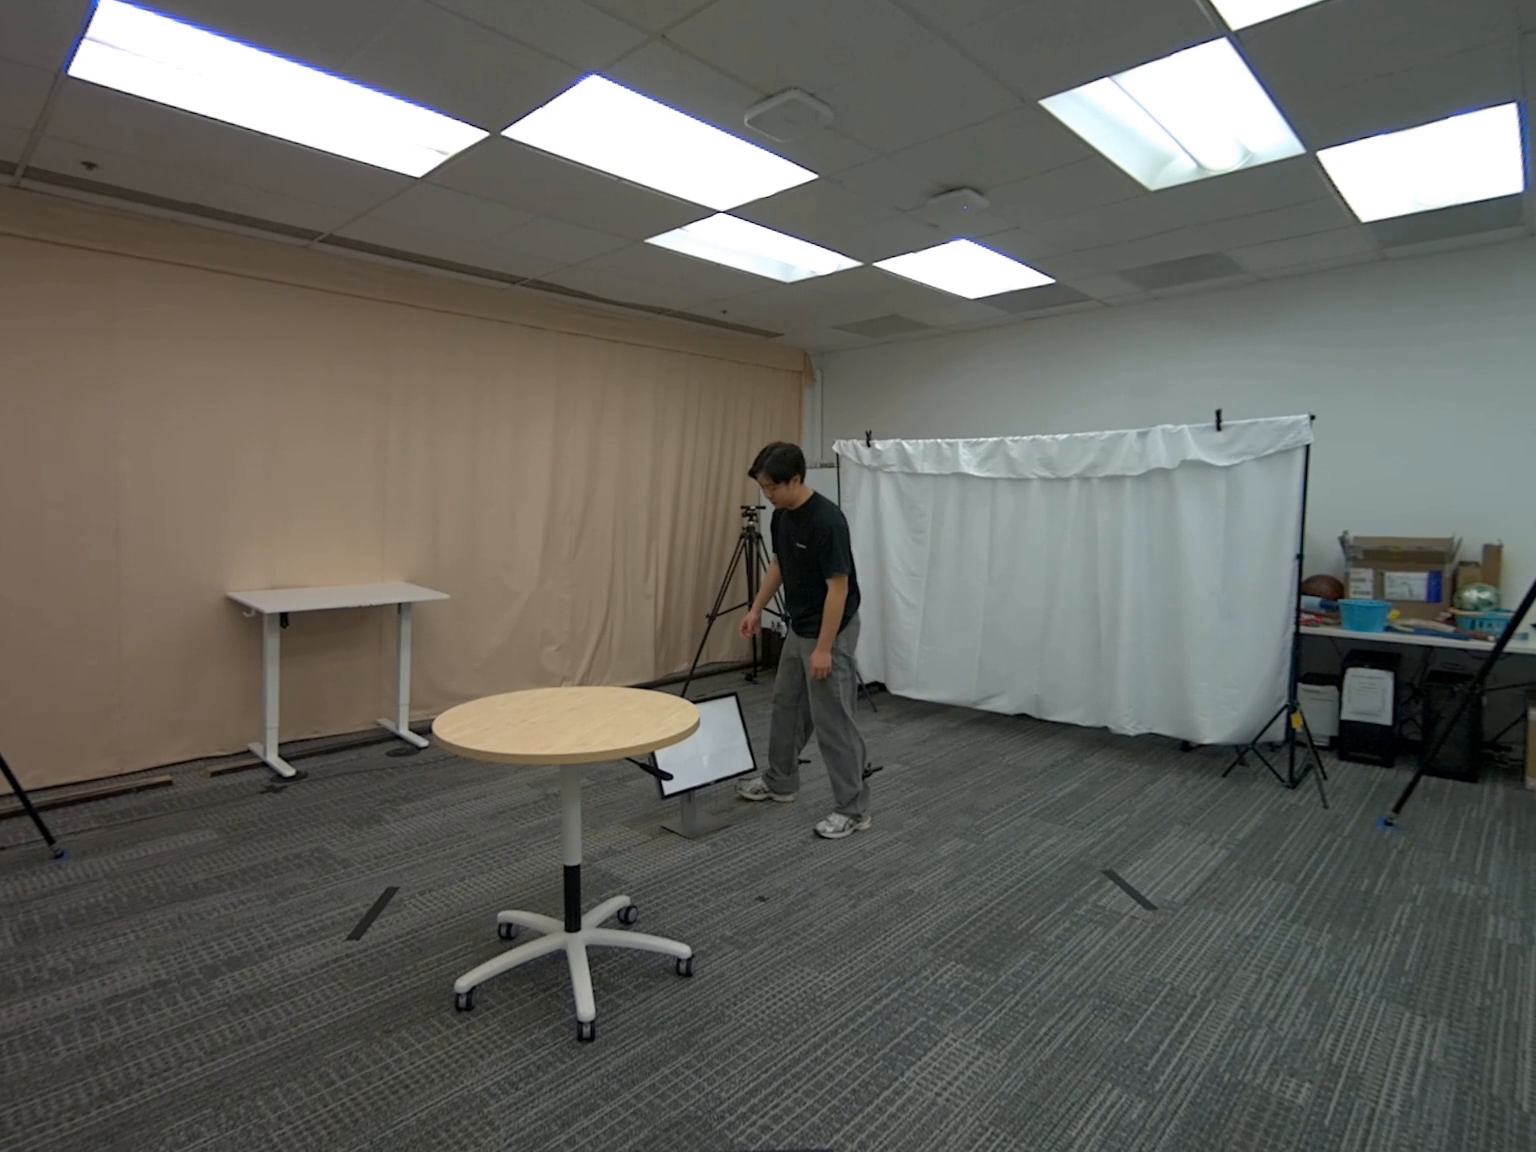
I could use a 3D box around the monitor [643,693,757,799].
[{"bbox_3d":[-0.309,0.826,3.662,0.544,0.565,0.229,-3,3,-44],"label":"monitor"}]
